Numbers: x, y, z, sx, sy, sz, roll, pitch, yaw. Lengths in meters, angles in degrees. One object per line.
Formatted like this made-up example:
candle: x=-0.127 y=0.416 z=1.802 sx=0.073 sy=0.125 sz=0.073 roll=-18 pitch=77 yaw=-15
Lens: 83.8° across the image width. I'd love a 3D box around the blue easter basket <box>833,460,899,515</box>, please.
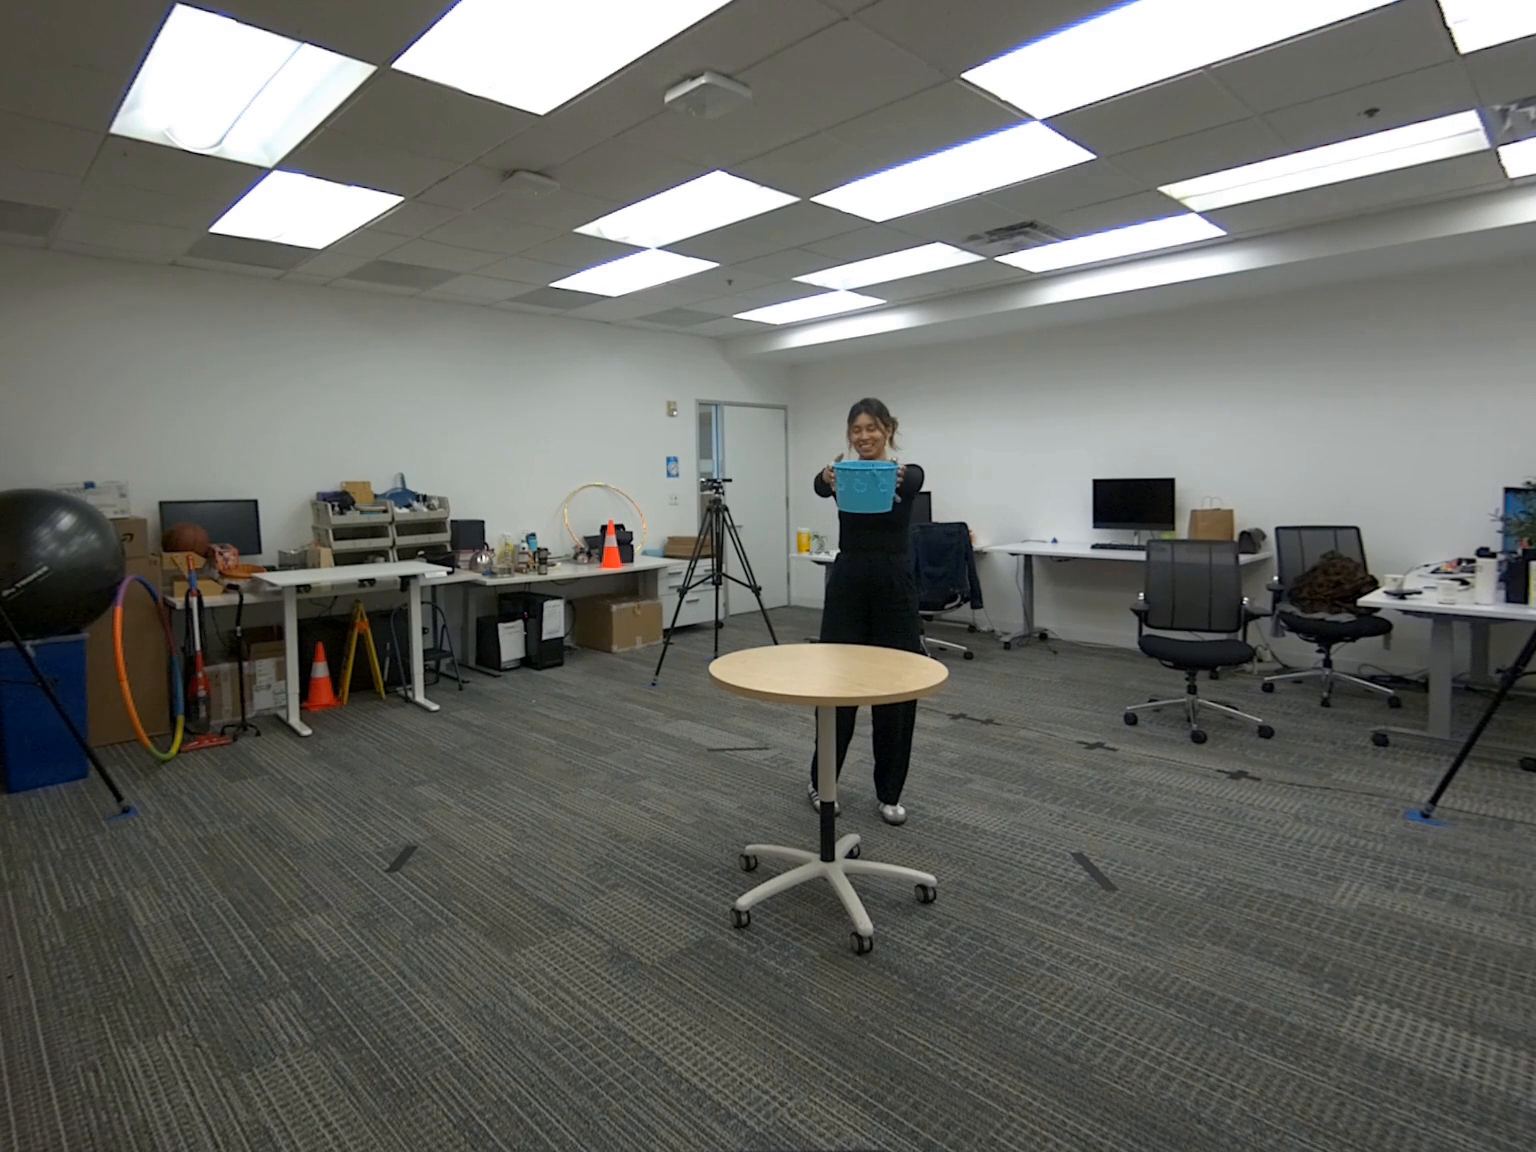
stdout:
blue easter basket: x=0.347 y=-0.306 z=2.911 sx=0.243 sy=0.154 sz=0.246 roll=0 pitch=12 yaw=-2
